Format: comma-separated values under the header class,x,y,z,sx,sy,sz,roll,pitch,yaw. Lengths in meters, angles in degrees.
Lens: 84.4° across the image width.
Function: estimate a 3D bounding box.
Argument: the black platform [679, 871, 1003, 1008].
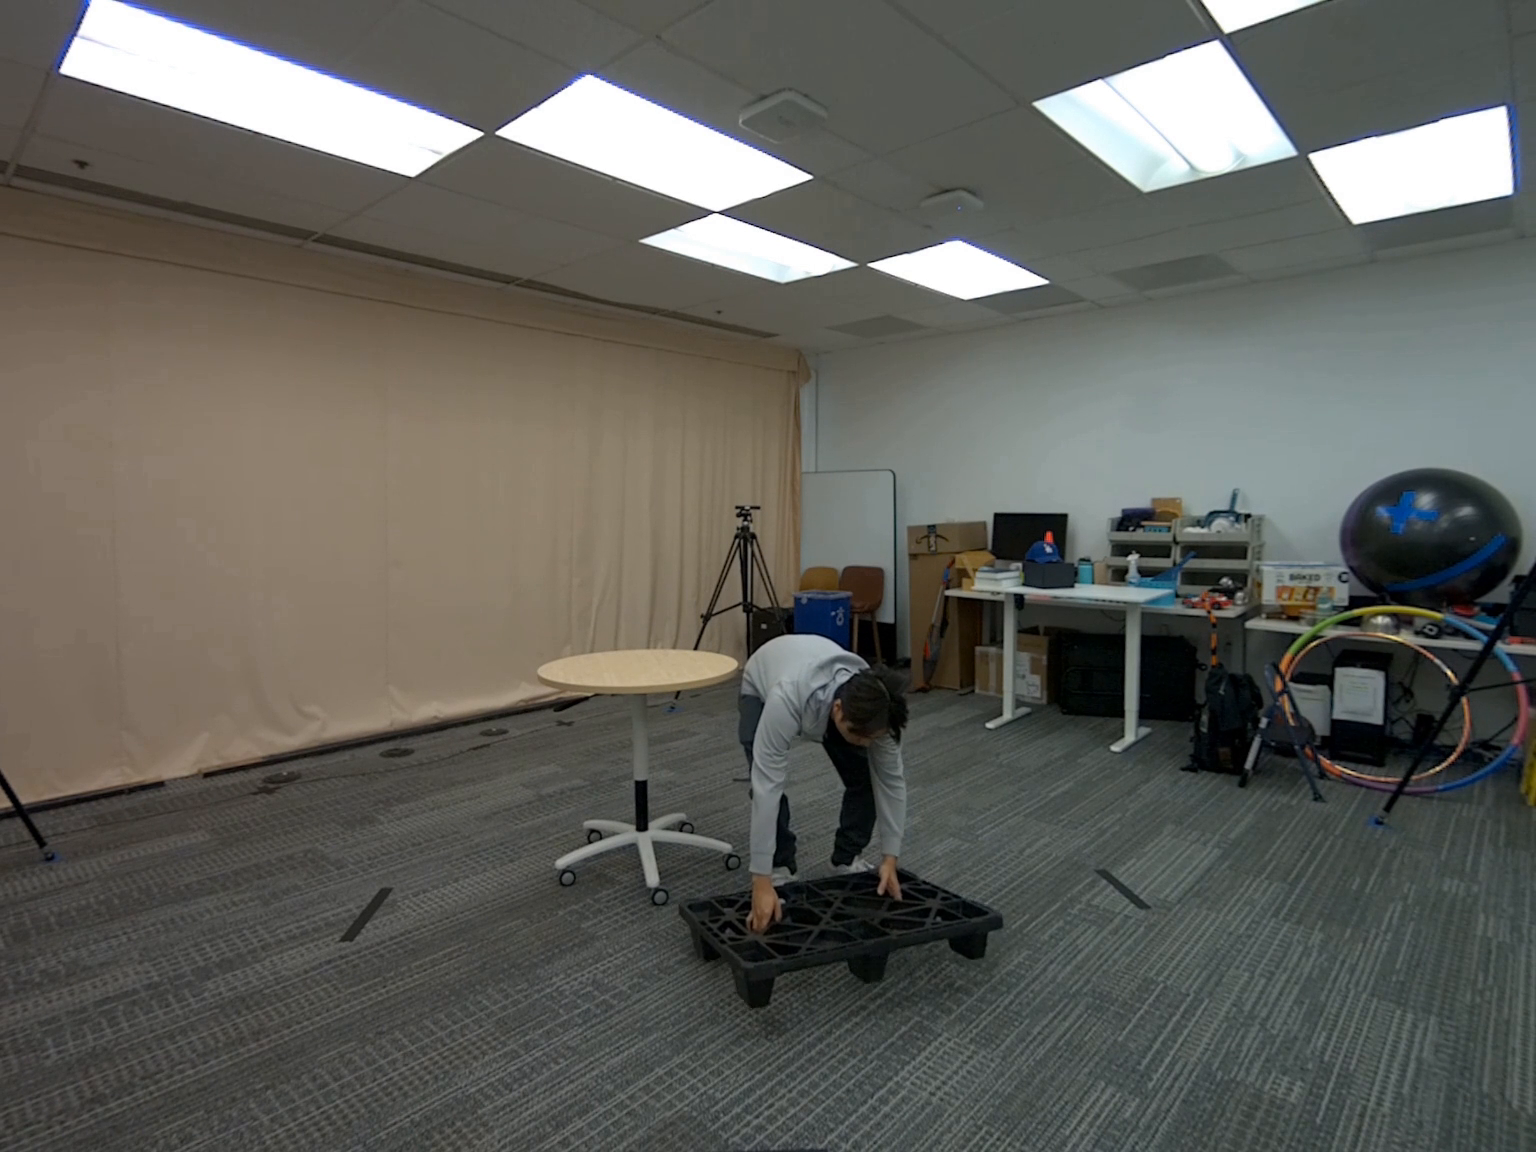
class,x,y,z,sx,sy,sz,roll,pitch,yaw
black platform,0.198,1.072,2.537,0.789,0.144,0.615,-2,-4,-21
